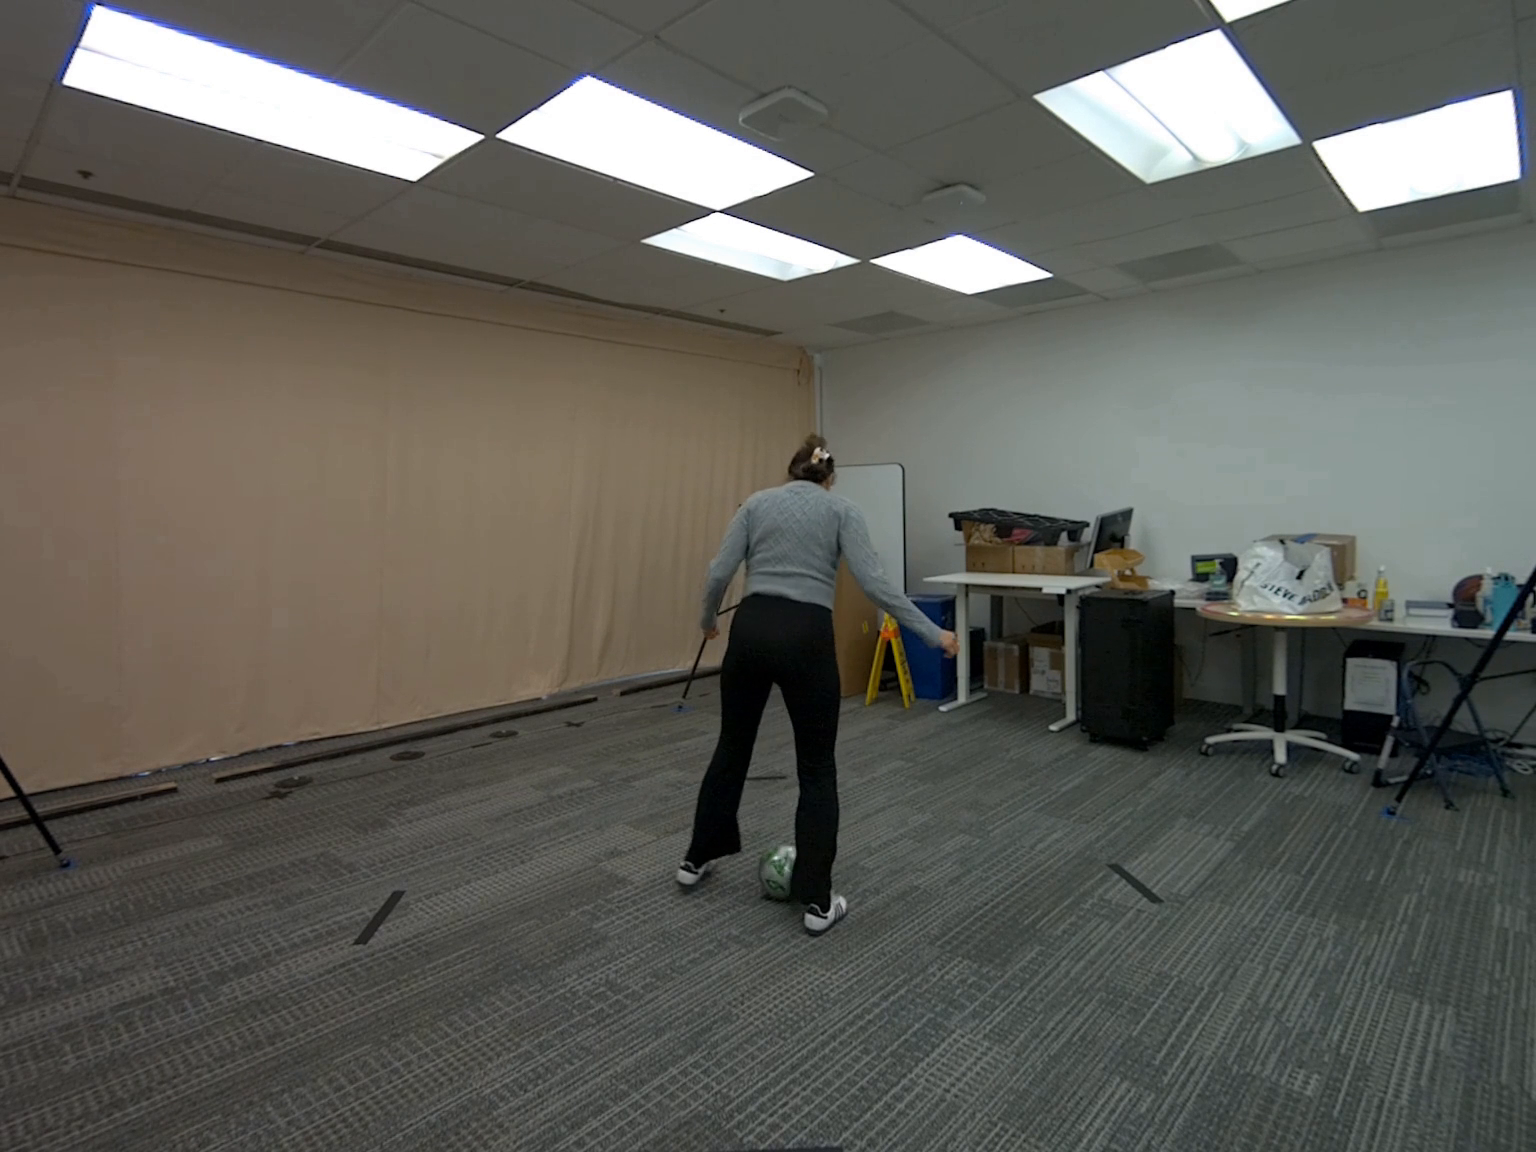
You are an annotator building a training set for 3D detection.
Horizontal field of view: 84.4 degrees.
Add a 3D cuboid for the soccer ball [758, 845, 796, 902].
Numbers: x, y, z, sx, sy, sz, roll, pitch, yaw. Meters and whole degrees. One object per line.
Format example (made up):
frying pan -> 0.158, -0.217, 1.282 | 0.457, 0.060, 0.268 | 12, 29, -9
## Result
soccer ball -> 0.064, 1.046, 2.979 | 0.187, 0.187, 0.188 | -1, 4, -2
